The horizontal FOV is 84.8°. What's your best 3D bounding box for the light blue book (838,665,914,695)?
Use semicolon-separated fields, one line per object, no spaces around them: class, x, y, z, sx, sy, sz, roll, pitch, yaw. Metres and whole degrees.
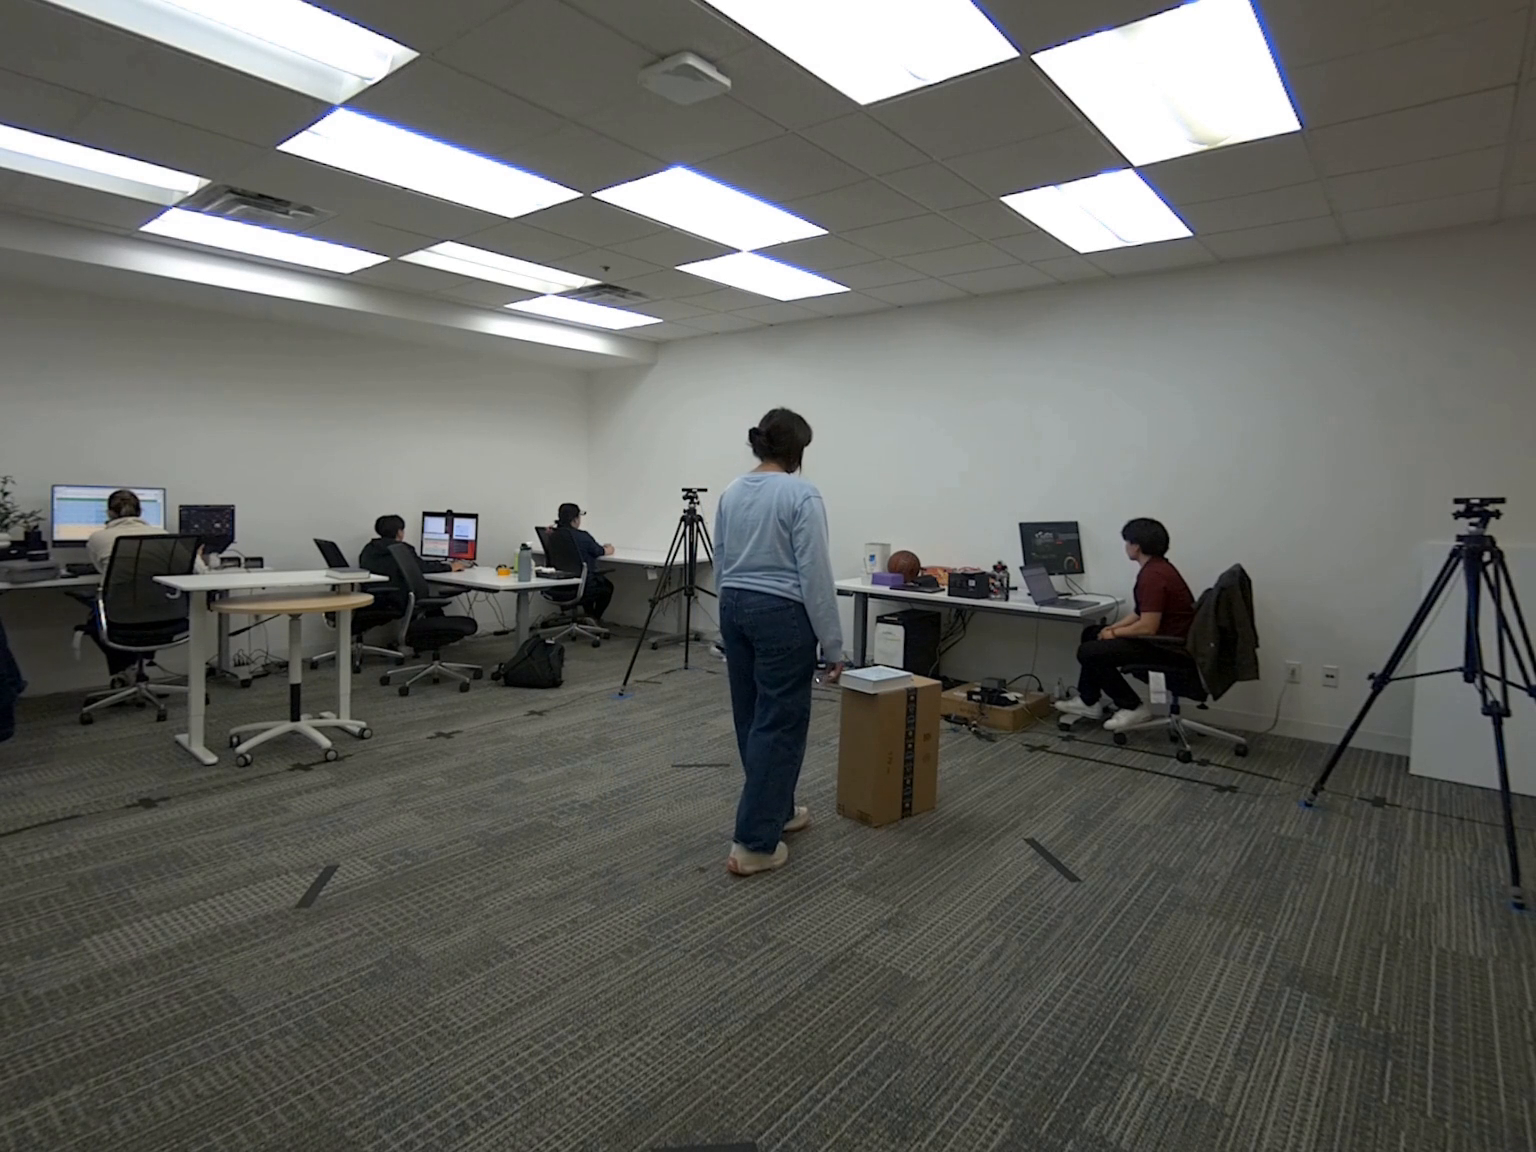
light blue book;0.452;0.437;3.636;0.253;0.059;0.198;-3;8;-42
